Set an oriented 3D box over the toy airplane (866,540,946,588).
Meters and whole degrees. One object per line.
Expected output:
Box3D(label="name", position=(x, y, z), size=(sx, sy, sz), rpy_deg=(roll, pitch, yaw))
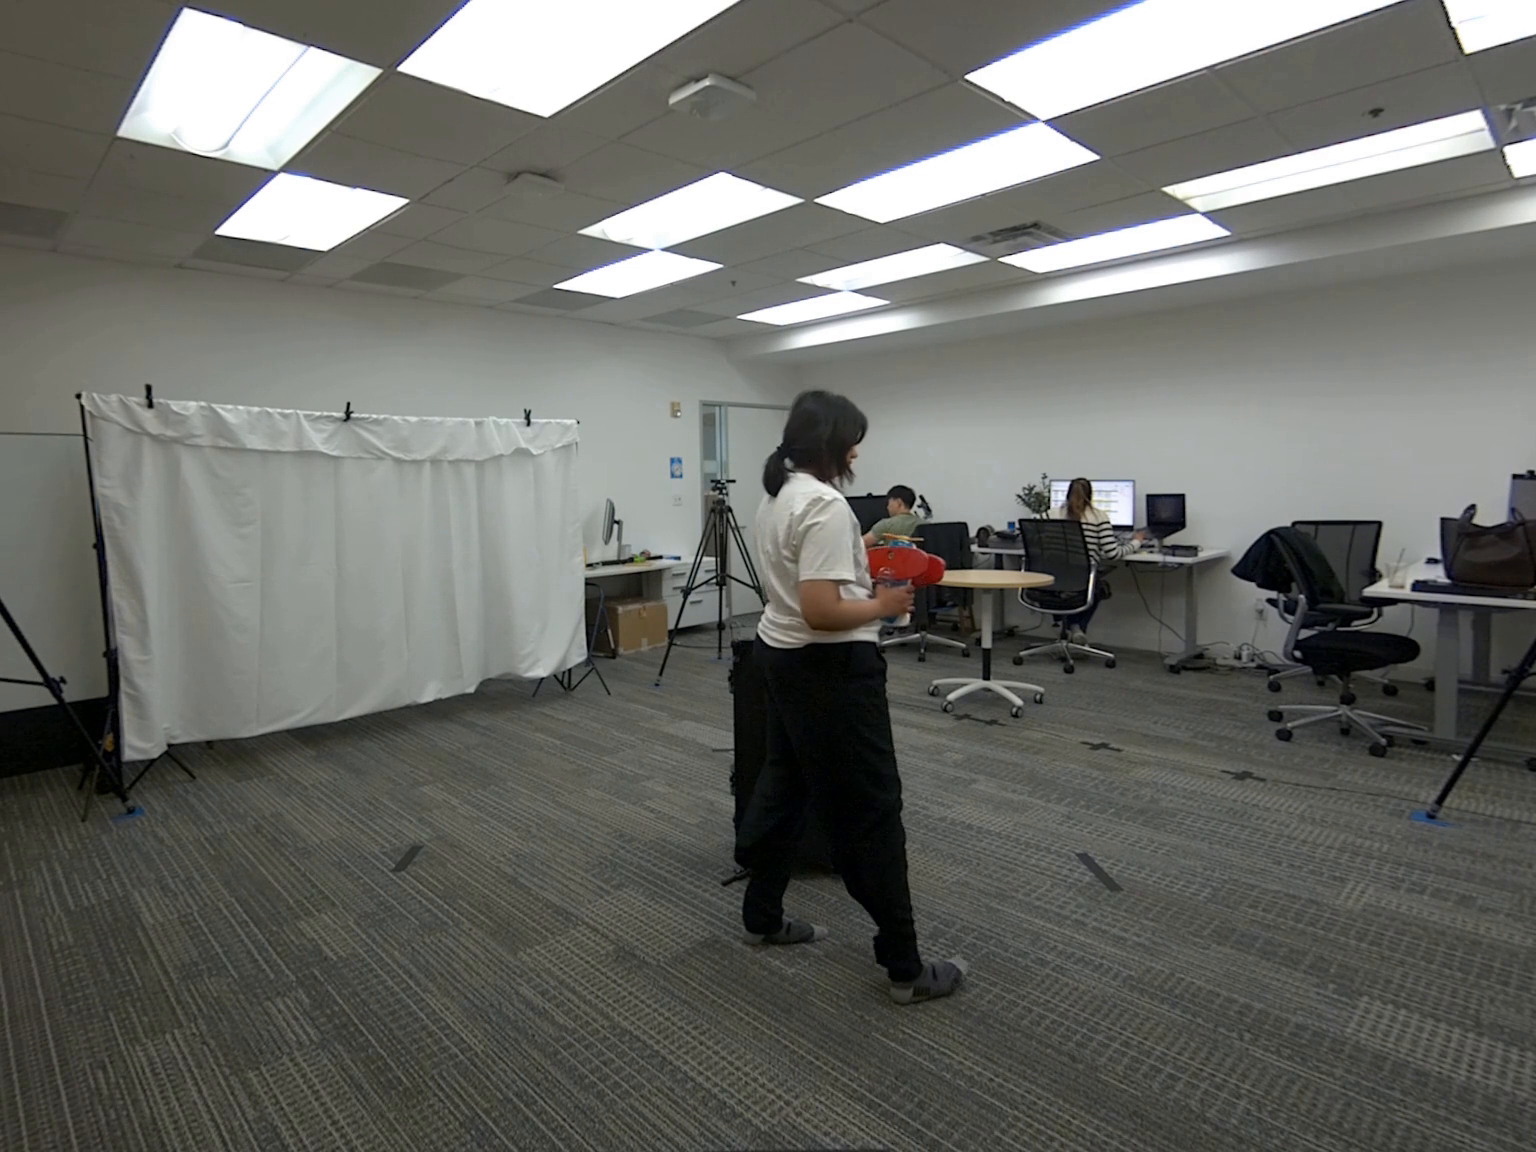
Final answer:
Box3D(label="toy airplane", position=(0.390, 0.013, 2.455), size=(0.254, 0.266, 0.151), rpy_deg=(-29, -48, 32))
